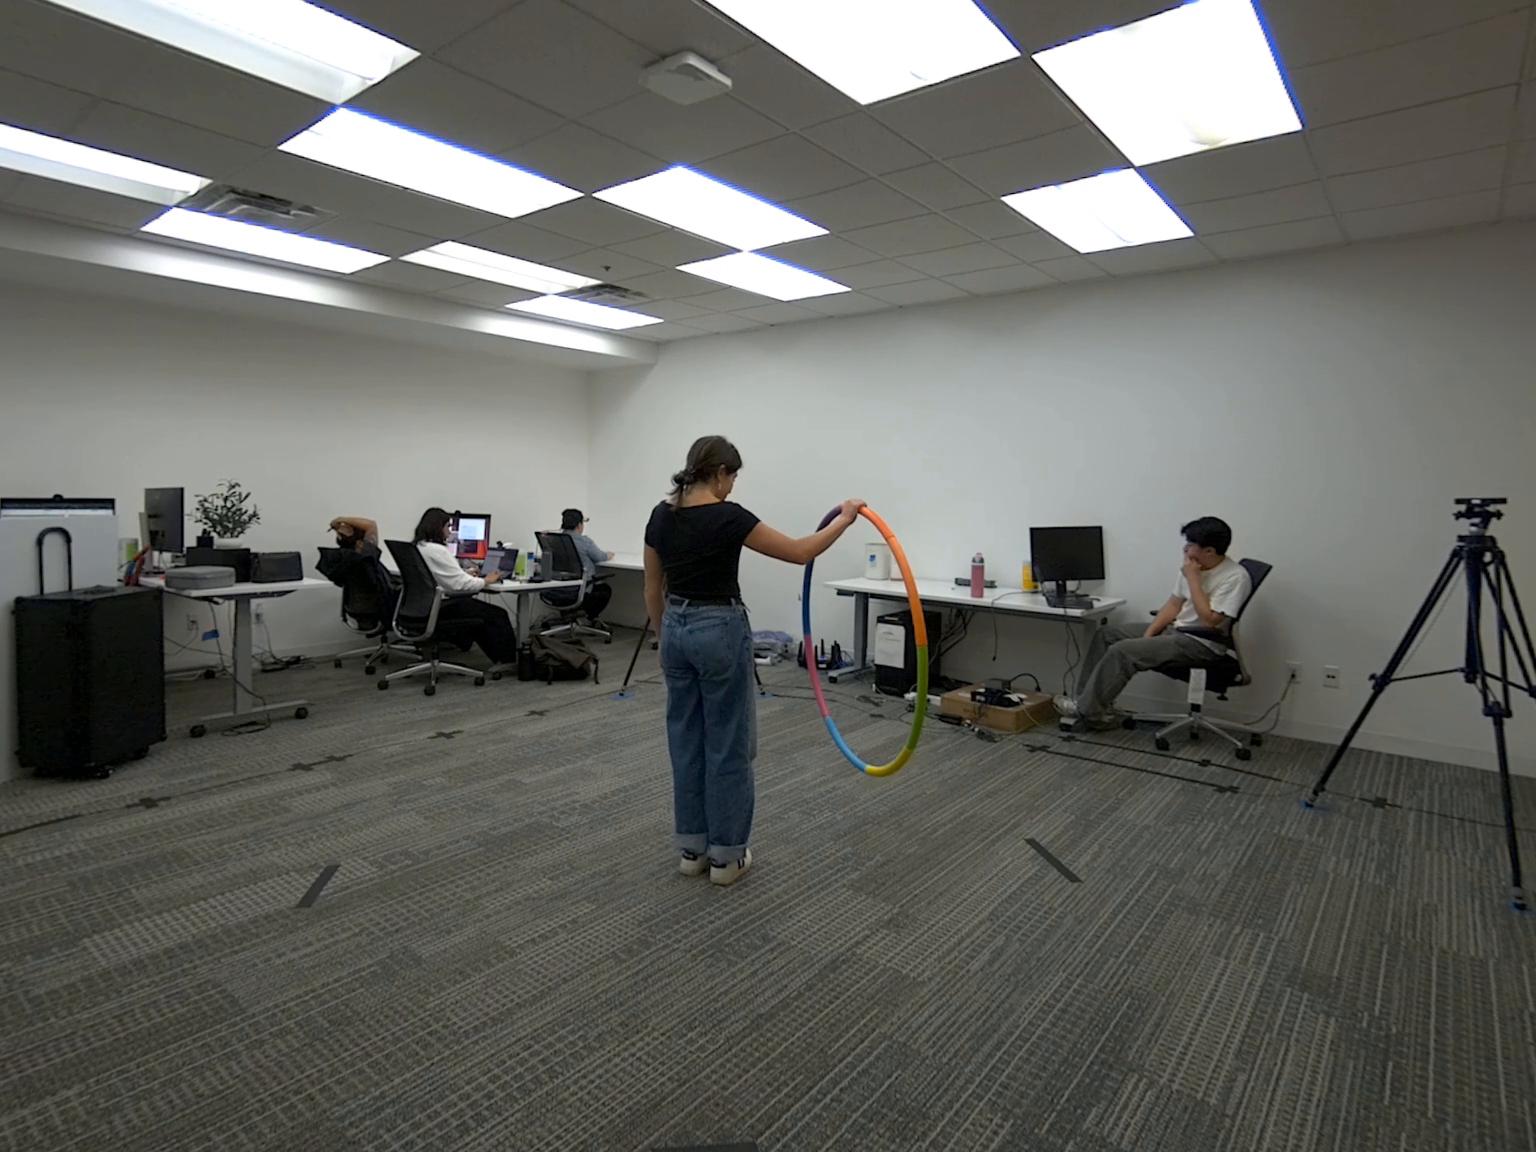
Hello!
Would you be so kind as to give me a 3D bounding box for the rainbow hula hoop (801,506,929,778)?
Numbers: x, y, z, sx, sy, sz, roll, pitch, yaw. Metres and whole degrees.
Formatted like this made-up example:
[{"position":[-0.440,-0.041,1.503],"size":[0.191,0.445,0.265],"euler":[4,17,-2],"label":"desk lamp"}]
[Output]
[{"position":[0.324,0.215,3.141],"size":[0.035,0.974,1.000],"euler":[-4,5,-19],"label":"rainbow hula hoop"}]
